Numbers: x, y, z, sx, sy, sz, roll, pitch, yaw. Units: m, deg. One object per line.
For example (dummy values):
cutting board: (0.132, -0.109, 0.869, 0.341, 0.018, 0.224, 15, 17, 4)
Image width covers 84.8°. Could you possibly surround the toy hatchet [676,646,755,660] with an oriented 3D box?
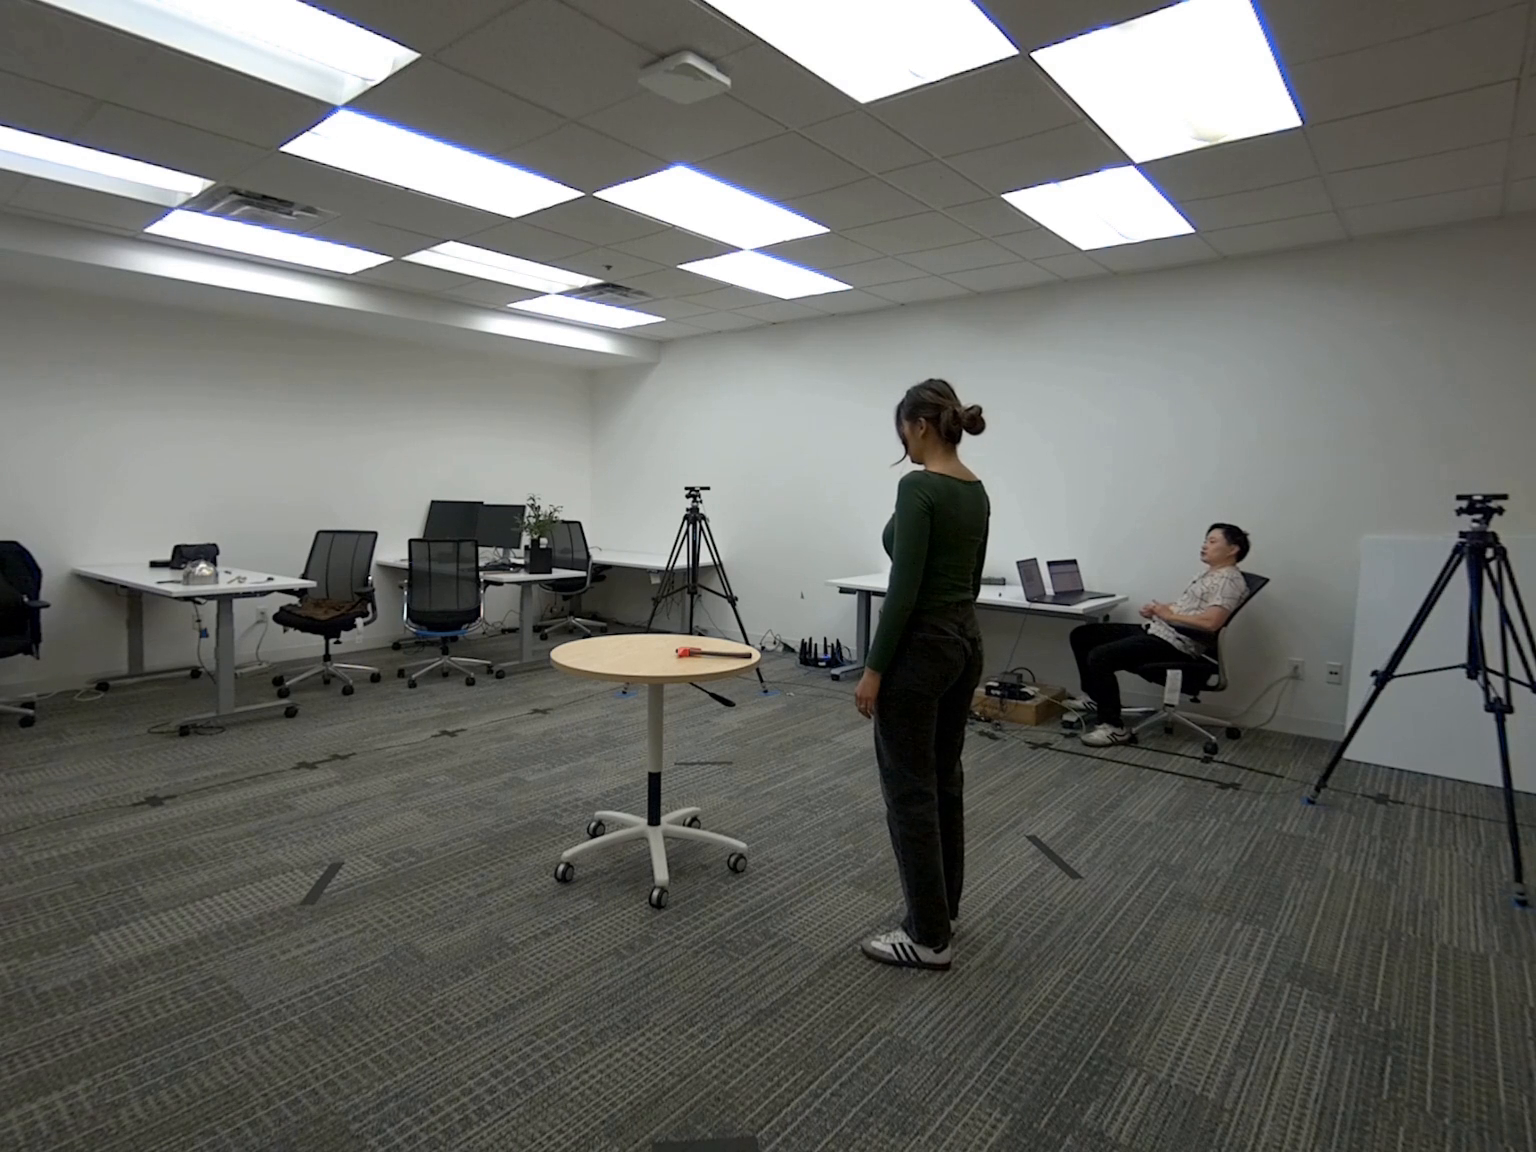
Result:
toy hatchet: (-0.206, 0.274, 3.084, 0.268, 0.029, 0.132, 2, 2, -7)
